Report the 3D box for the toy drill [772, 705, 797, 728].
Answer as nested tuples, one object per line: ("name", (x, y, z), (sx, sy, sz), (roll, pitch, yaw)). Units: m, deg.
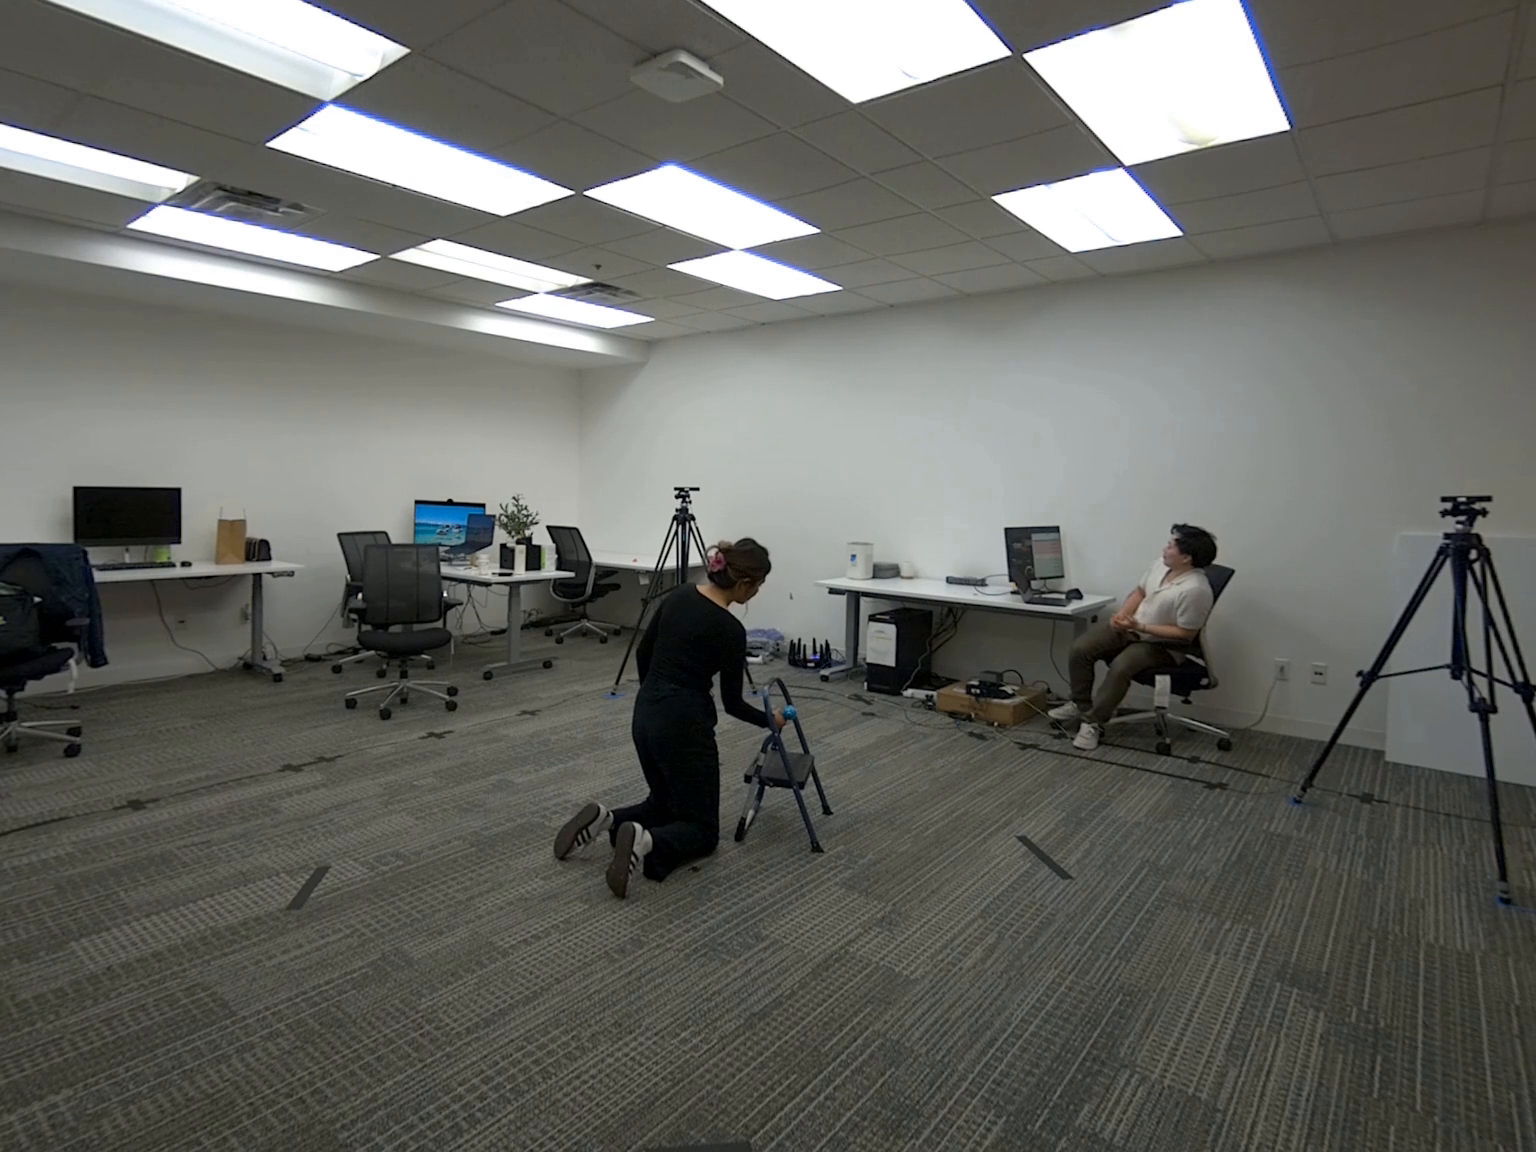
("toy drill", (0.043, 0.591, 3.603), (0.147, 0.061, 0.167), (-15, -4, 11))
